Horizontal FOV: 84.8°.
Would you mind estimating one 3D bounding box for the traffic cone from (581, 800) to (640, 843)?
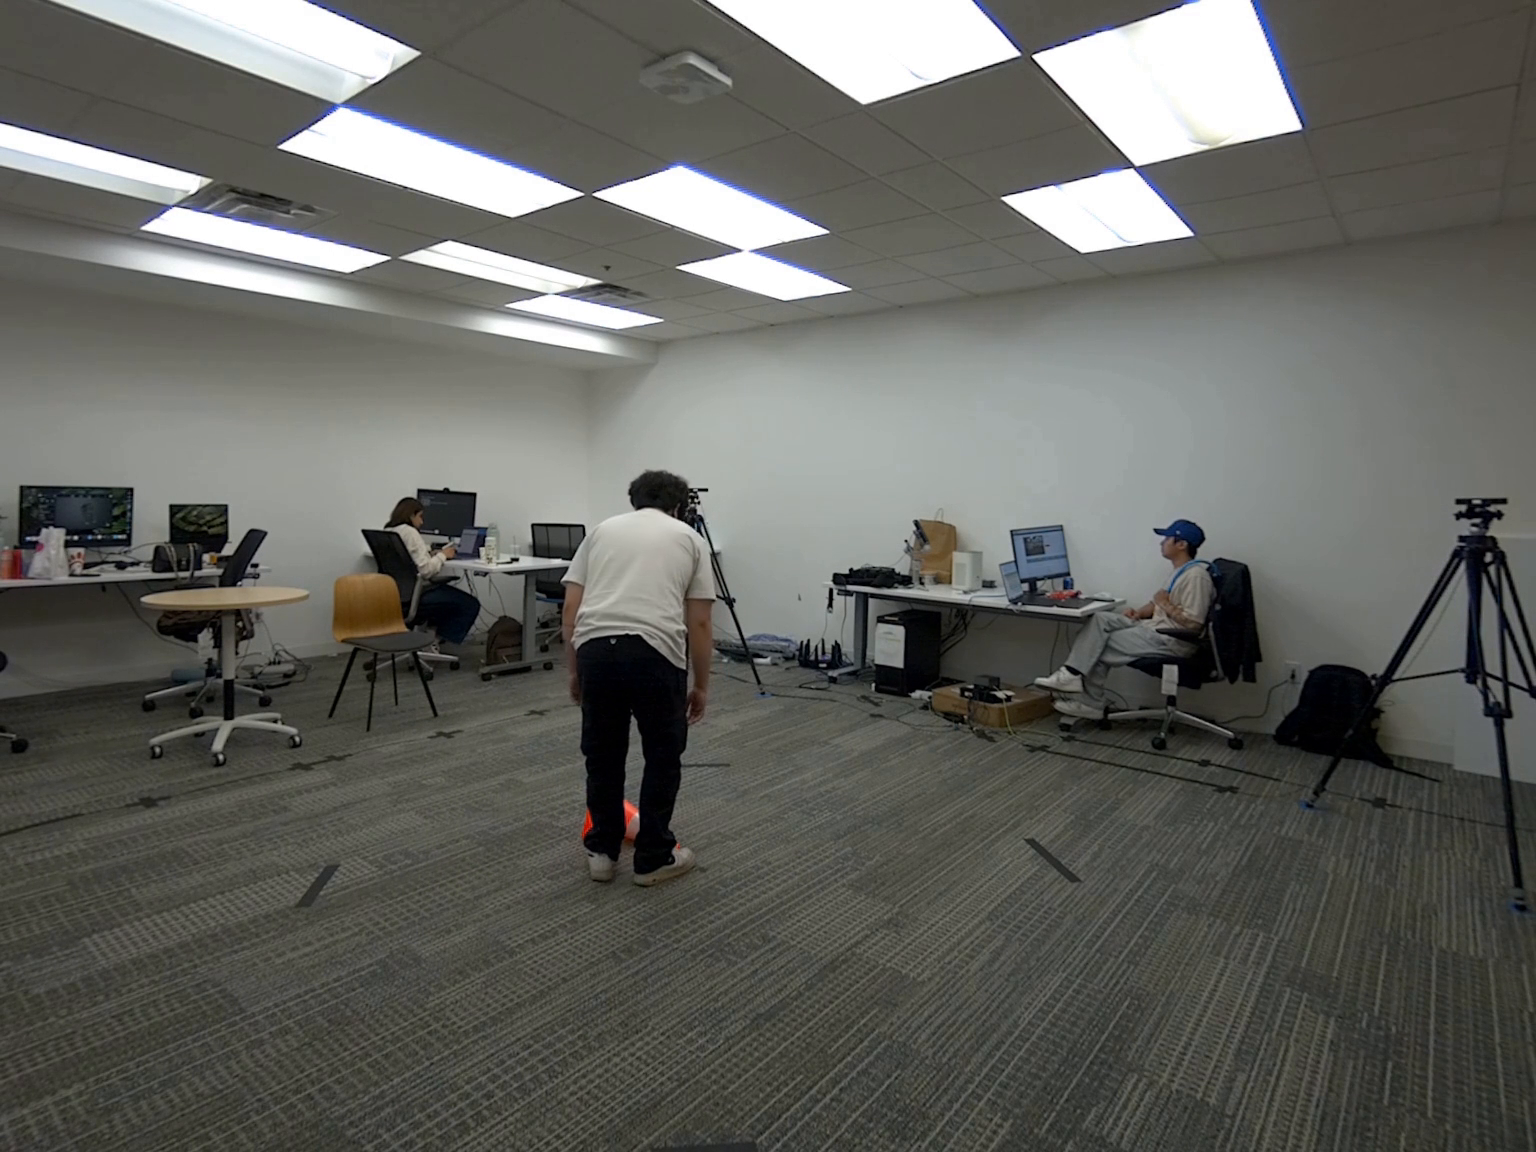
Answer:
[{"bbox_3d":[-0.516,0.987,3.341,0.396,0.202,0.200,18,13,27],"label":"traffic cone"}]
